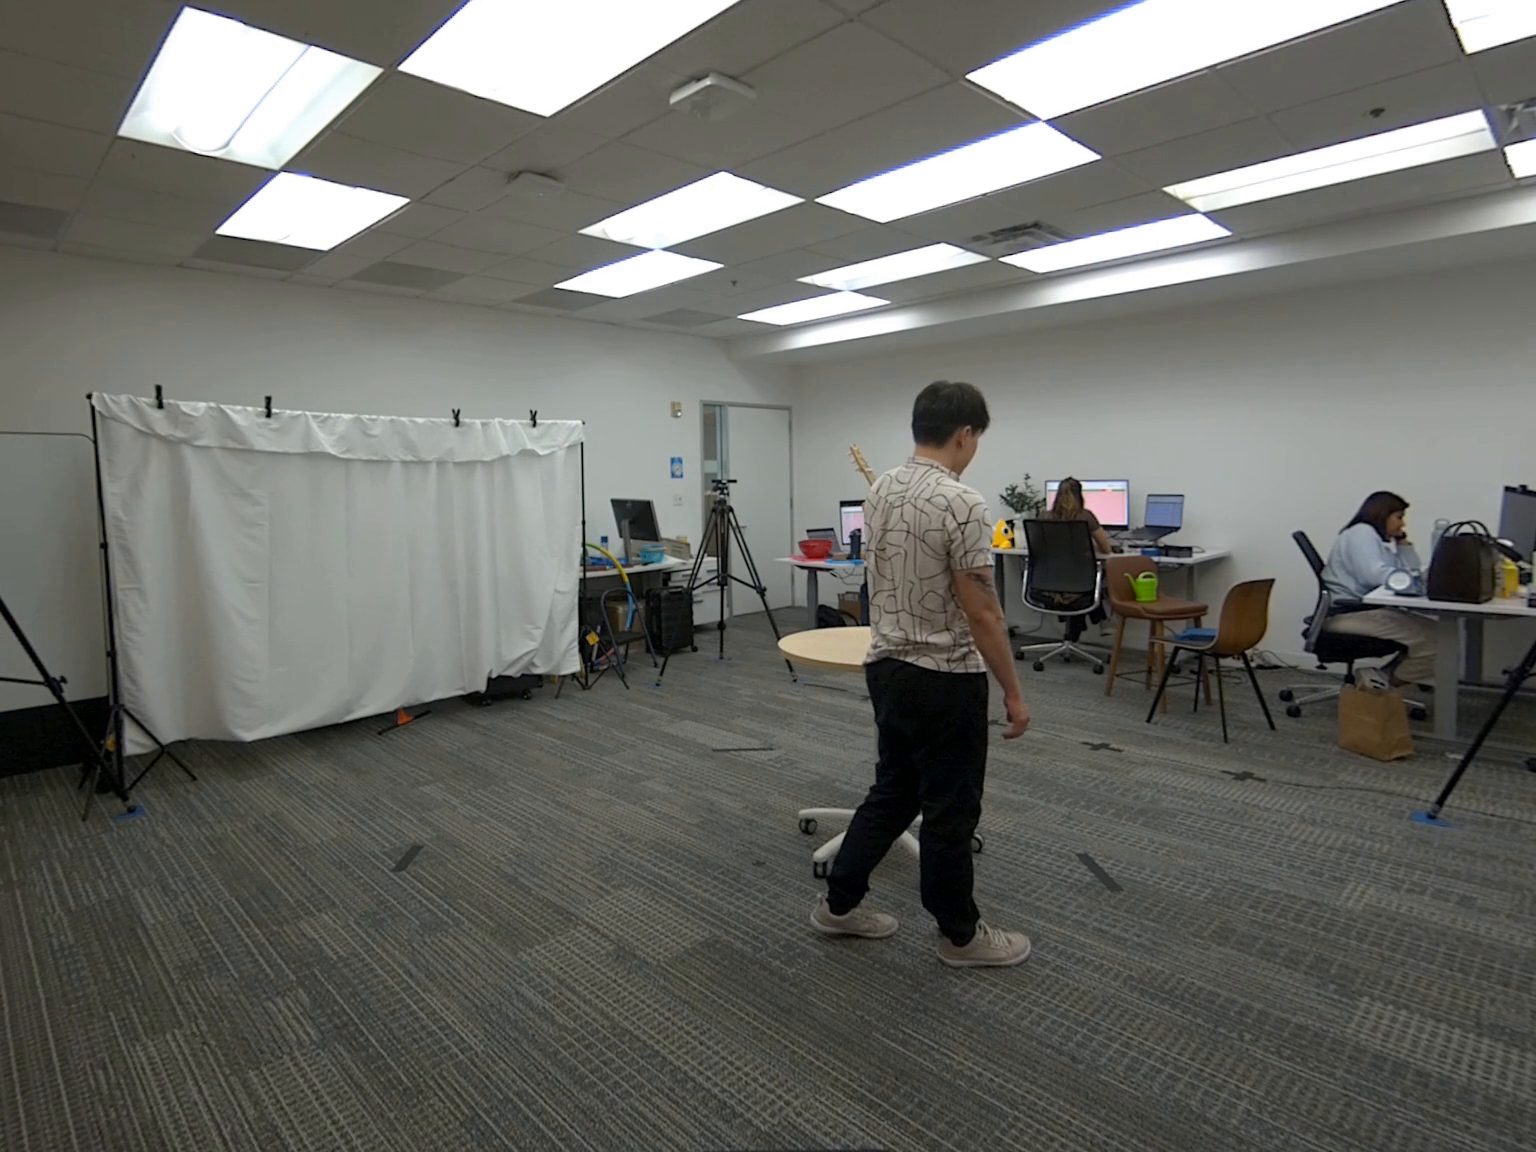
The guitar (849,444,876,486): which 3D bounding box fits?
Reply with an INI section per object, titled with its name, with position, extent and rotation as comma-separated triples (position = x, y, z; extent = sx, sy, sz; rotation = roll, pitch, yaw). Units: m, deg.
[guitar]
position = 0.447, -0.283, 3.293
extent = 0.186, 0.512, 0.071
rotation = 12, -40, -41
